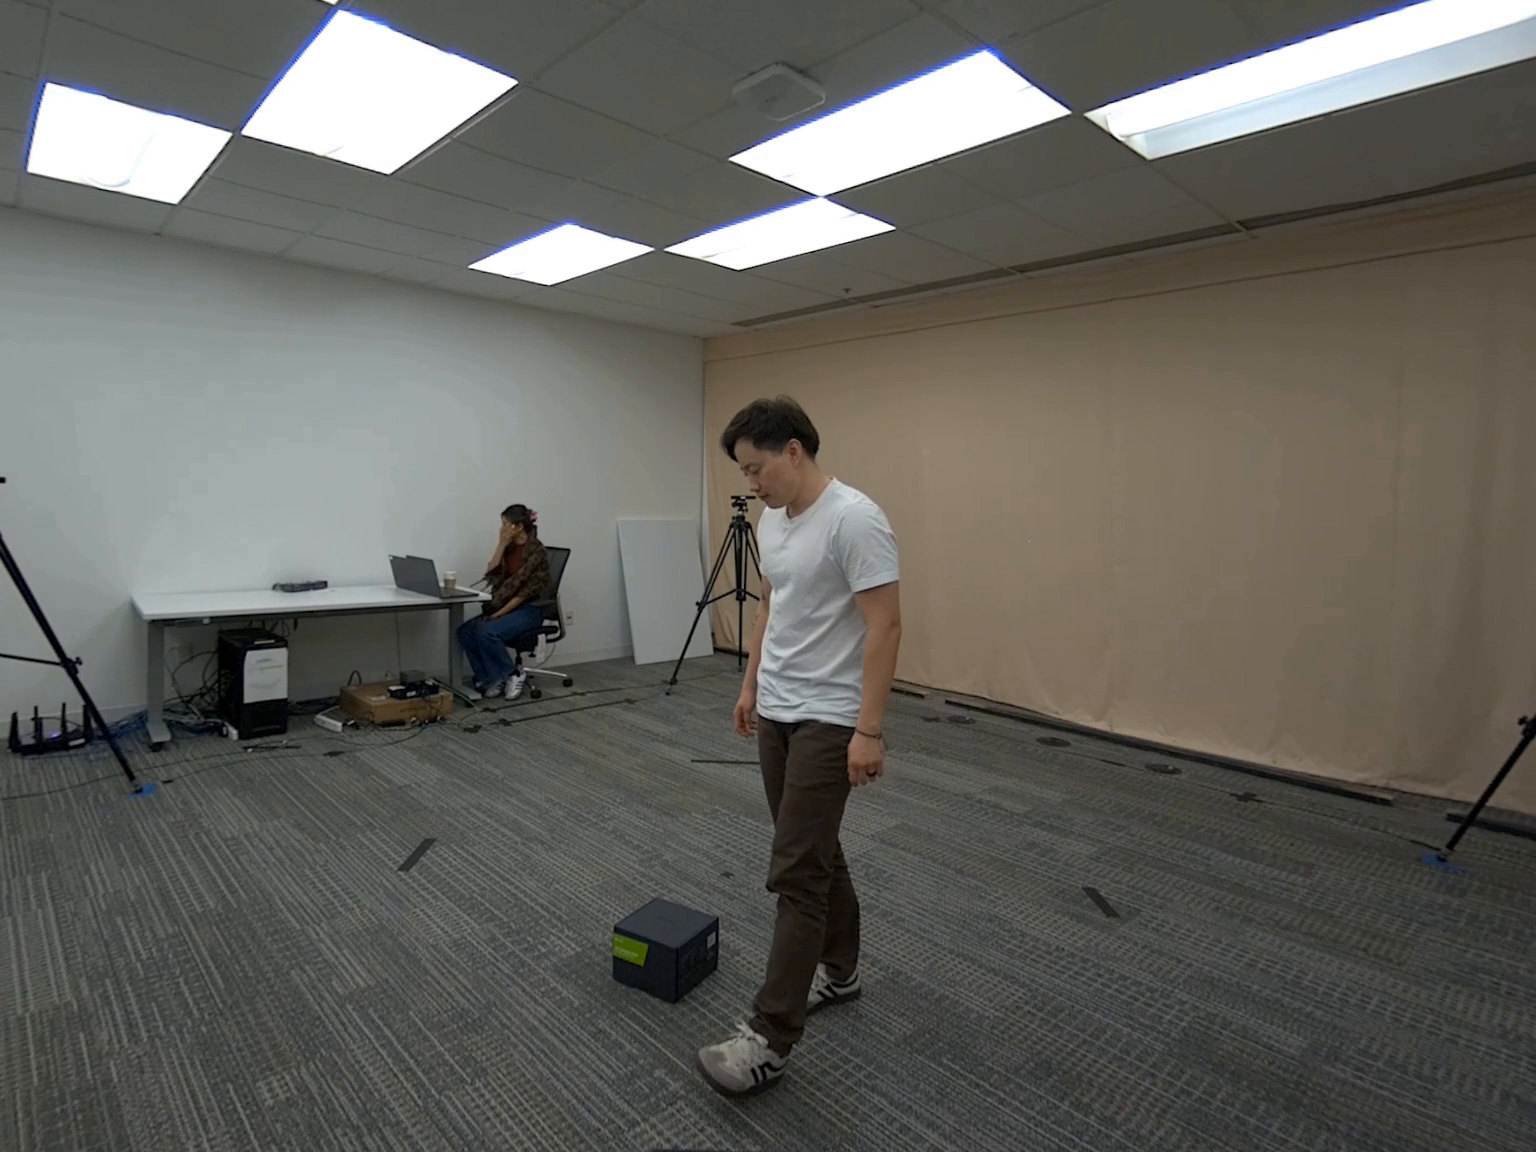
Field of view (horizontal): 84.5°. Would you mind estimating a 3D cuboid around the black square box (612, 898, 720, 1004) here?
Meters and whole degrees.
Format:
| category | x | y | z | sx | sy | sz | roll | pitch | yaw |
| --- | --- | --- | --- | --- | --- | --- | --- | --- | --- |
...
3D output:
| category | x | y | z | sx | sy | sz | roll | pitch | yaw |
| --- | --- | --- | --- | --- | --- | --- | --- | --- | --- |
| black square box | -0.301 | 1.077 | 2.443 | 0.233 | 0.155 | 0.213 | 4 | 5 | 30 |
